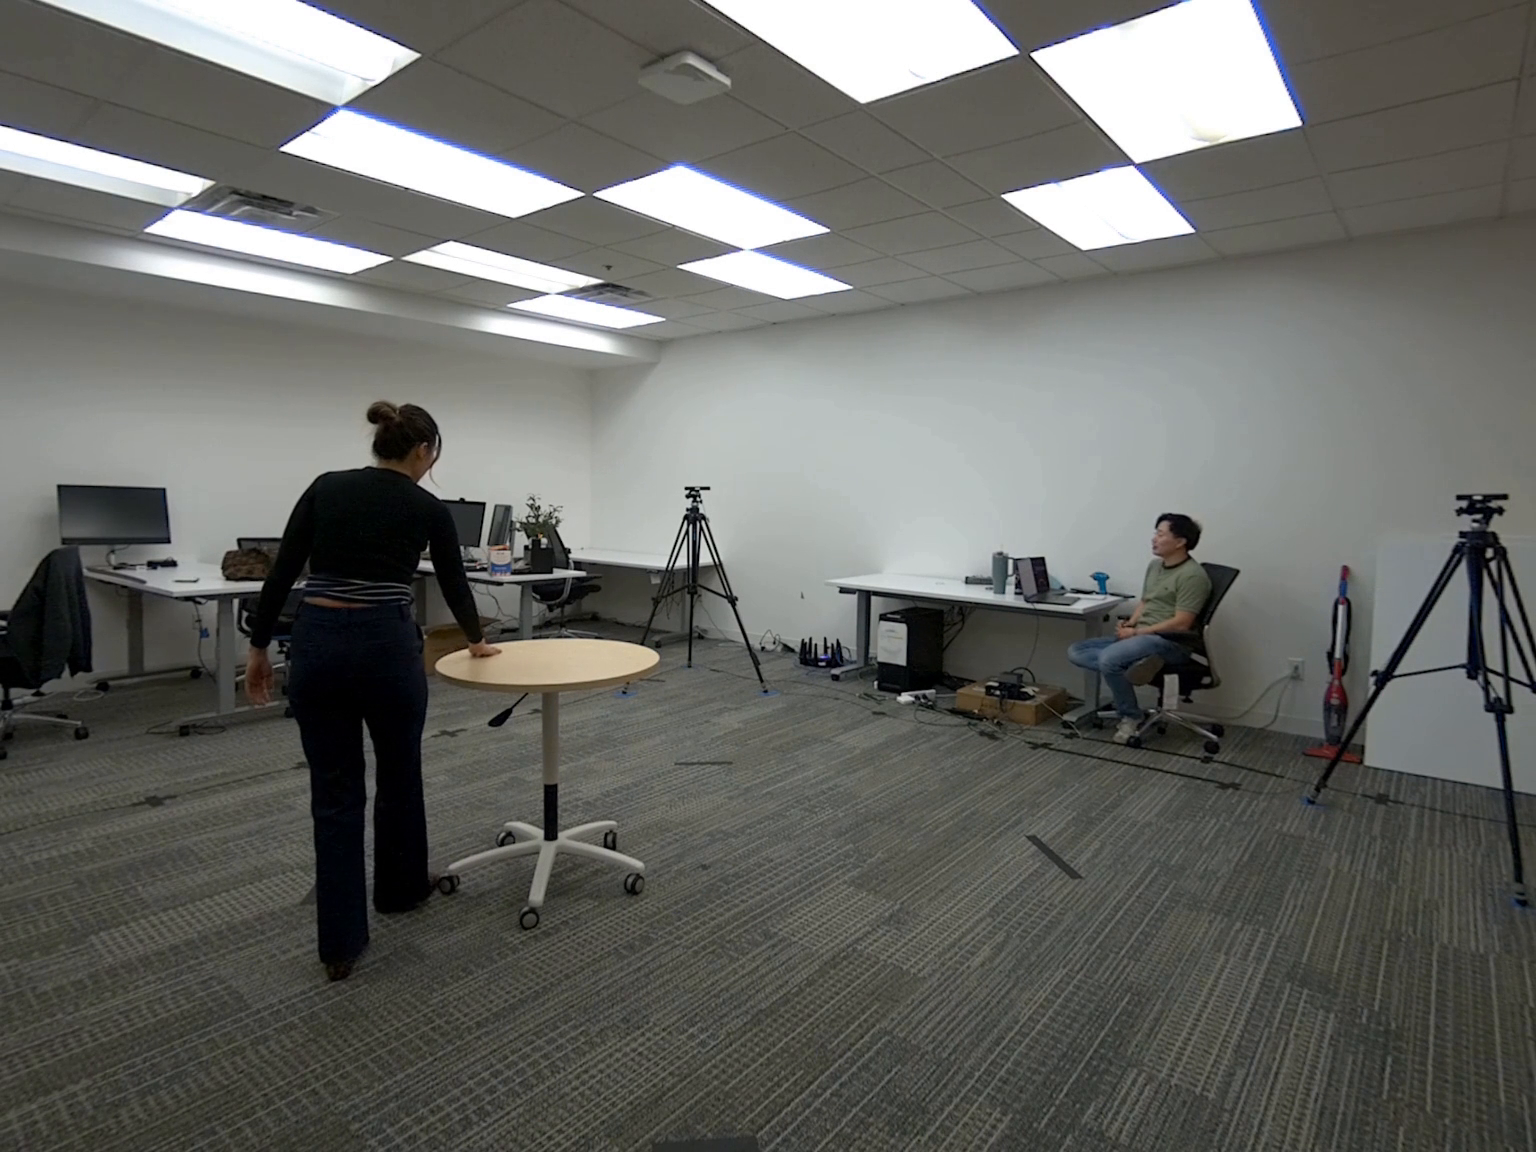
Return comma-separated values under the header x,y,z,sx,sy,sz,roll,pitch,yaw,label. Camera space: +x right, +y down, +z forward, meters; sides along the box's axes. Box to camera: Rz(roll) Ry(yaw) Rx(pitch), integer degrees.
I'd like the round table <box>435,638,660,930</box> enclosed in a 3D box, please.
x,y,z,sx,sy,sz,roll,pitch,yaw,label
-0.775,0.681,3.000,0.763,0.791,0.768,0,4,-2,round table
